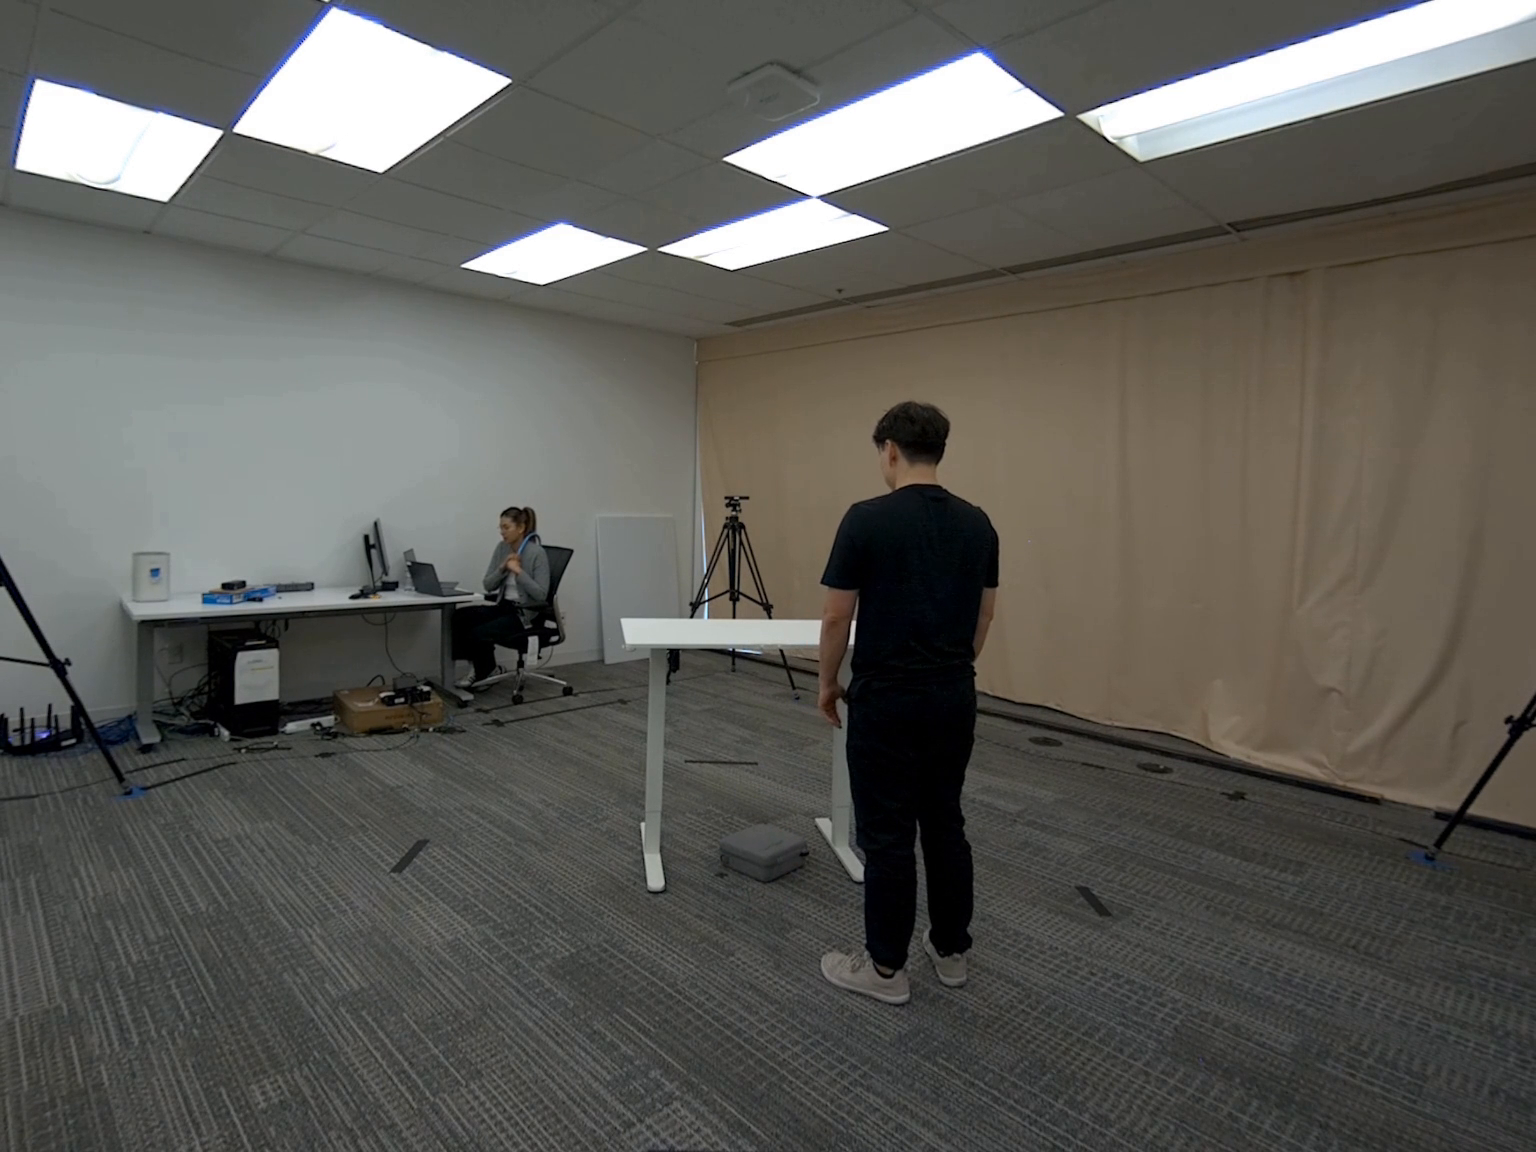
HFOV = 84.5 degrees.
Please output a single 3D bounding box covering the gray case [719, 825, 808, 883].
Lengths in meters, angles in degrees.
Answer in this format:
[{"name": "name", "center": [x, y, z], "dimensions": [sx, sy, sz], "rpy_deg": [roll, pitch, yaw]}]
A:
[{"name": "gray case", "center": [-0.029, 1.036, 3.195], "dimensions": [0.267, 0.104, 0.251], "rpy_deg": [4, 7, 43]}]
